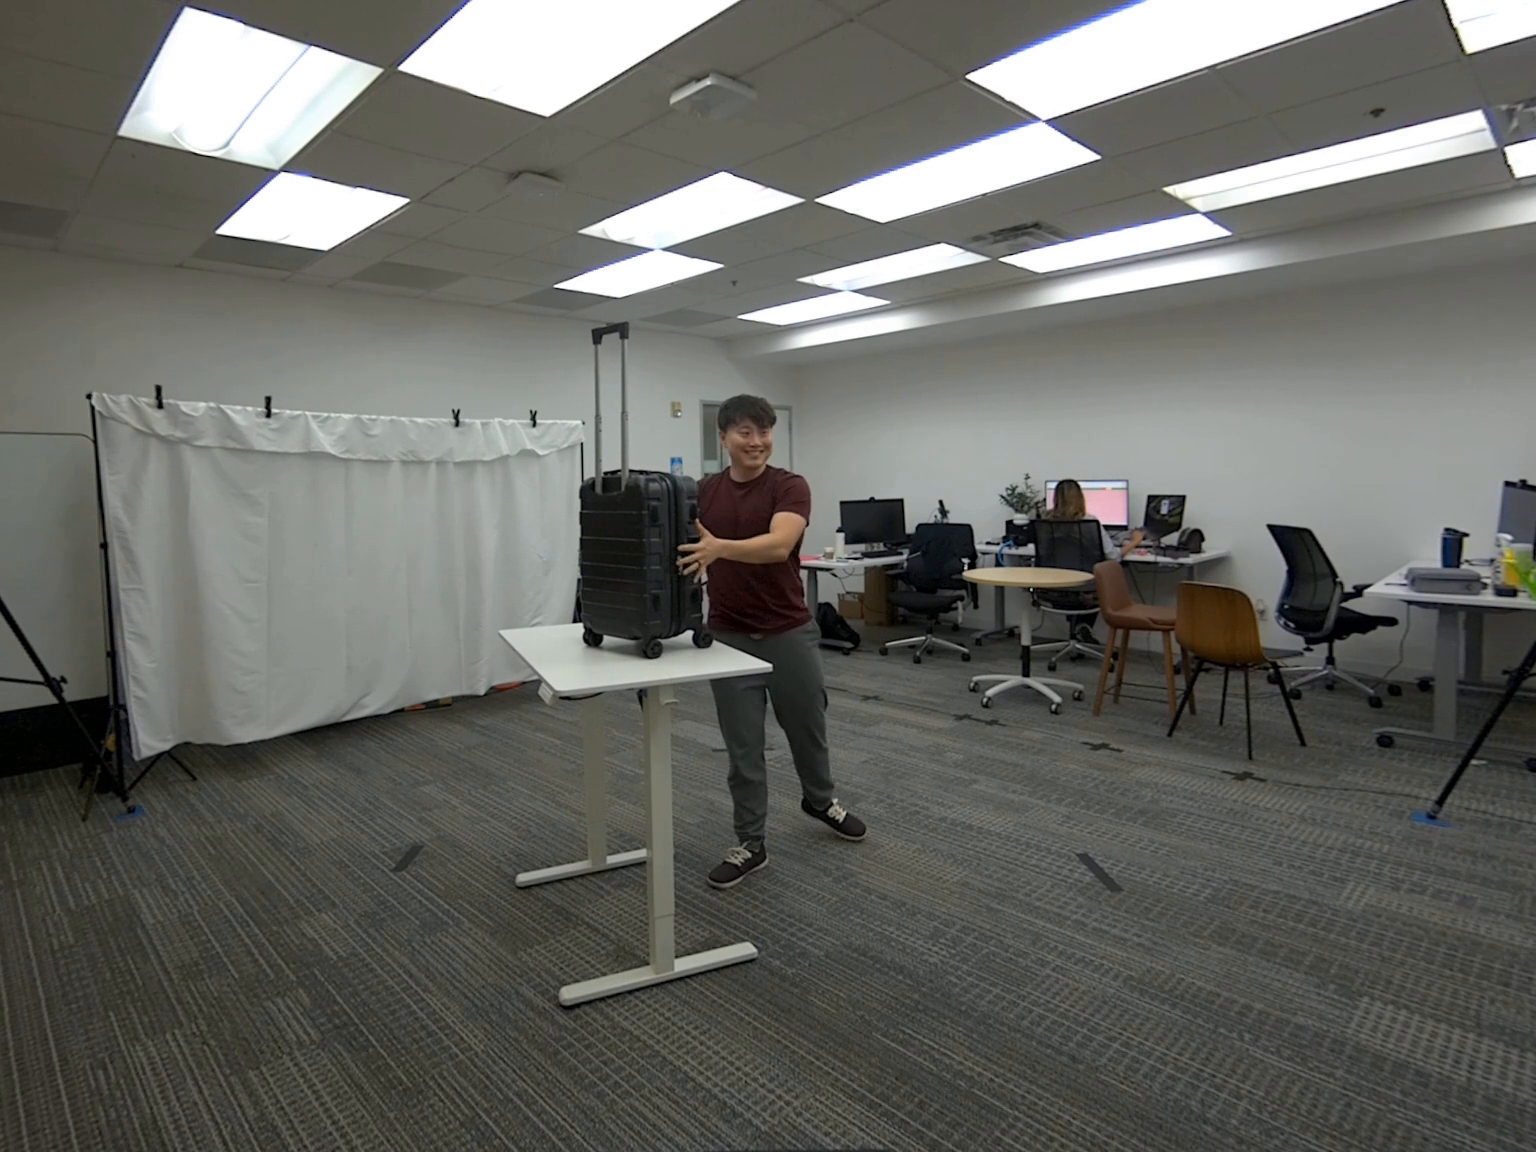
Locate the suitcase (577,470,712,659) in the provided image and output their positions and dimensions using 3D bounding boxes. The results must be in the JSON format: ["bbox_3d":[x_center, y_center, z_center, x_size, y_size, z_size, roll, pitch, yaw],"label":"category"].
[{"bbox_3d":[-0.396,-0.258,2.646,0.396,0.976,0.250,3,4,43],"label":"suitcase"}]
